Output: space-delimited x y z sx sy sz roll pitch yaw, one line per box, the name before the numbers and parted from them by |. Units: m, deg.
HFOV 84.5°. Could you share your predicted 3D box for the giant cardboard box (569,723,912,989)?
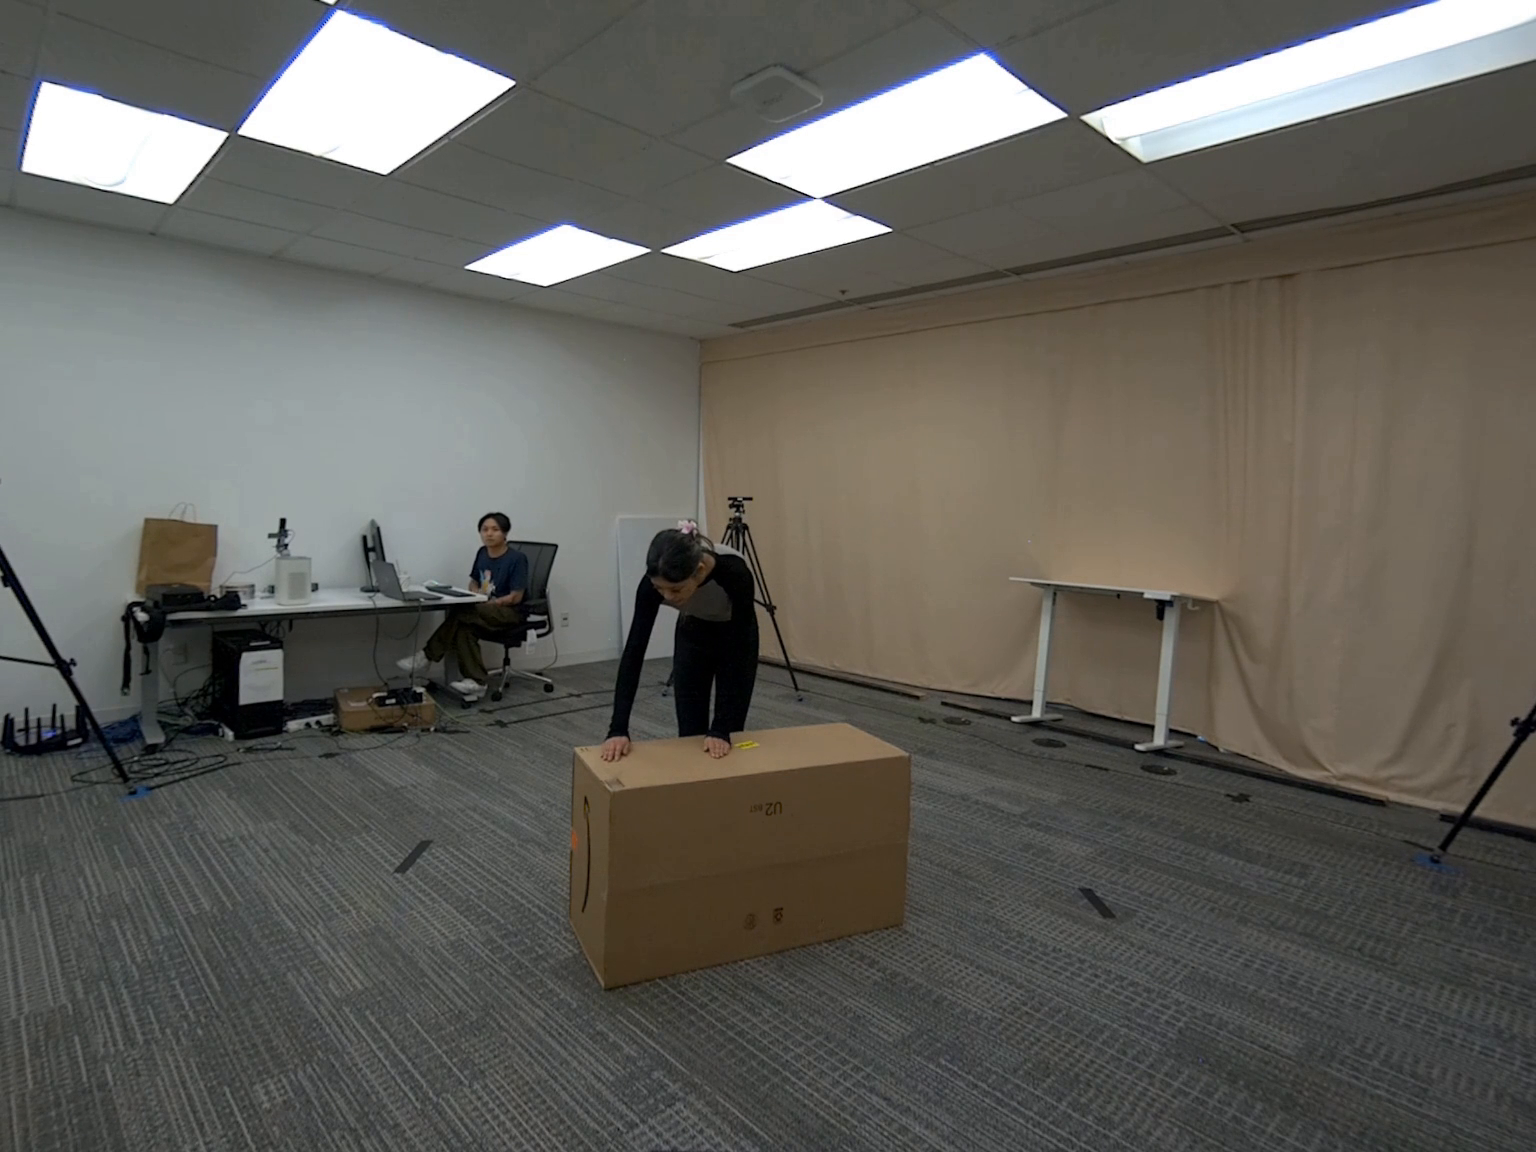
giant cardboard box | -0.092 0.853 2.741 1.008 0.576 0.435 0 4 -24
